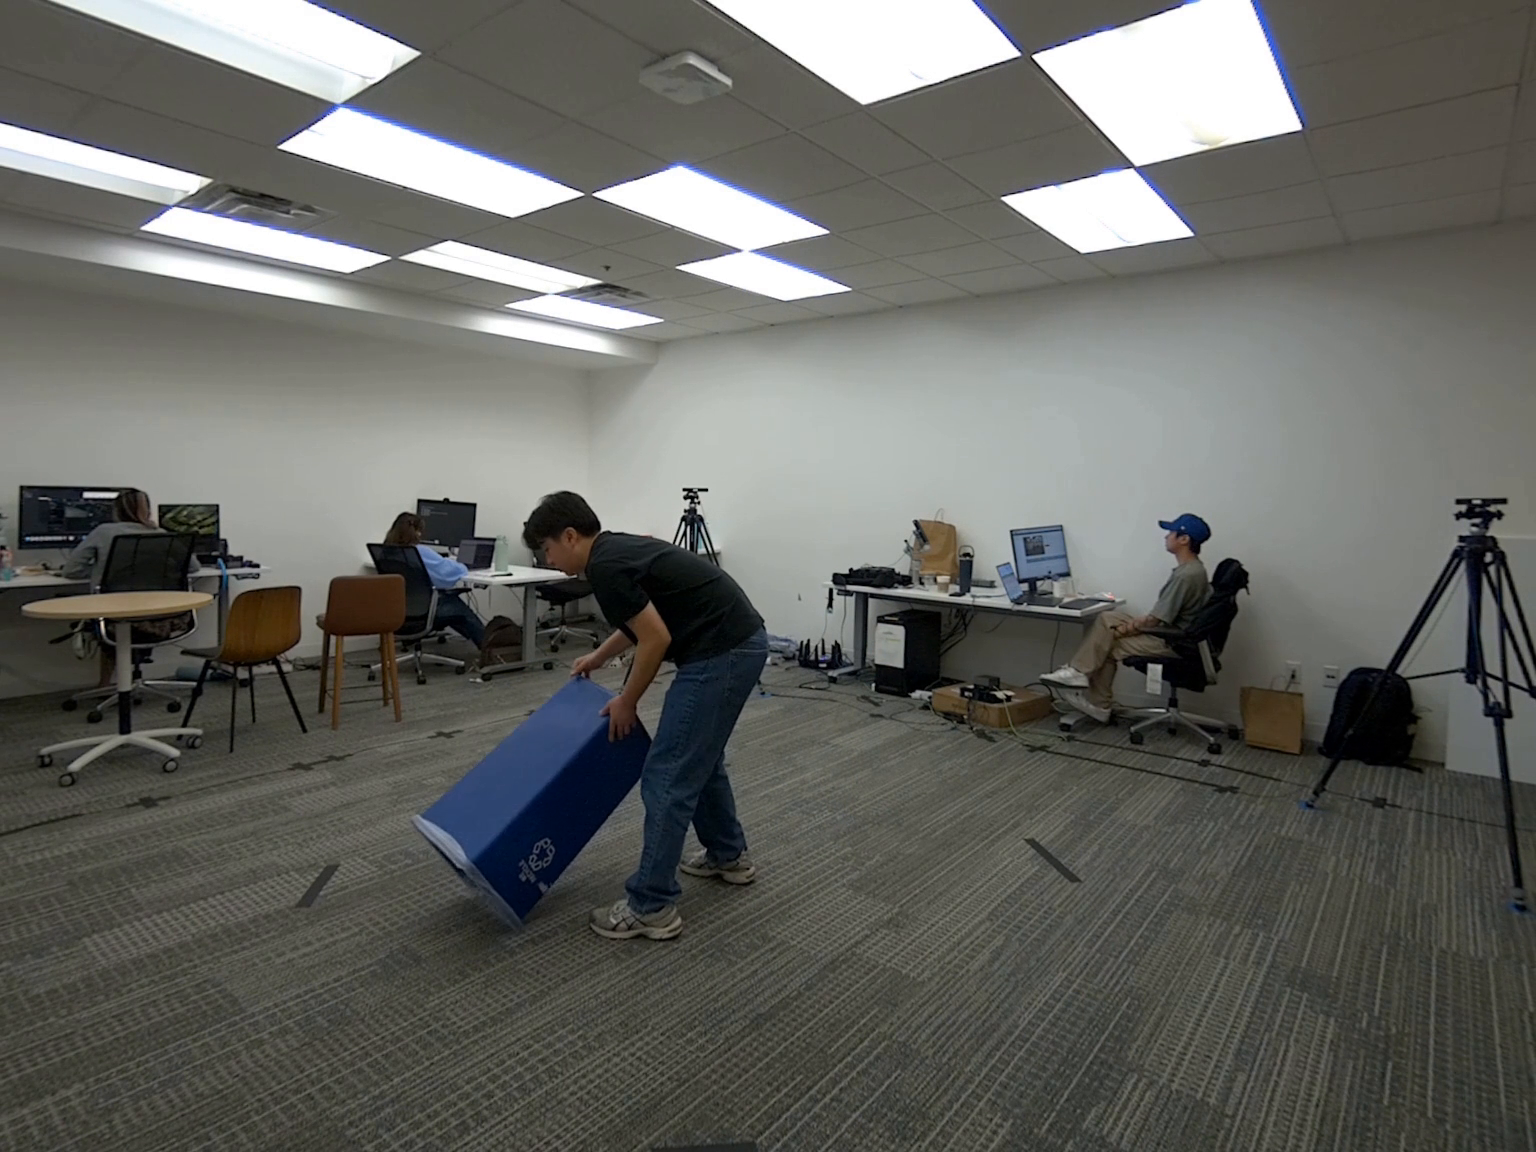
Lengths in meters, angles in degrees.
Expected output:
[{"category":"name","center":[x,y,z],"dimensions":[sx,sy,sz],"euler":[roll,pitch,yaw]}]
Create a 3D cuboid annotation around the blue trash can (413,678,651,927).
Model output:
[{"category":"blue trash can","center":[-0.766,0.720,2.839],"dimensions":[0.392,0.361,0.713],"euler":[13,49,40]}]
